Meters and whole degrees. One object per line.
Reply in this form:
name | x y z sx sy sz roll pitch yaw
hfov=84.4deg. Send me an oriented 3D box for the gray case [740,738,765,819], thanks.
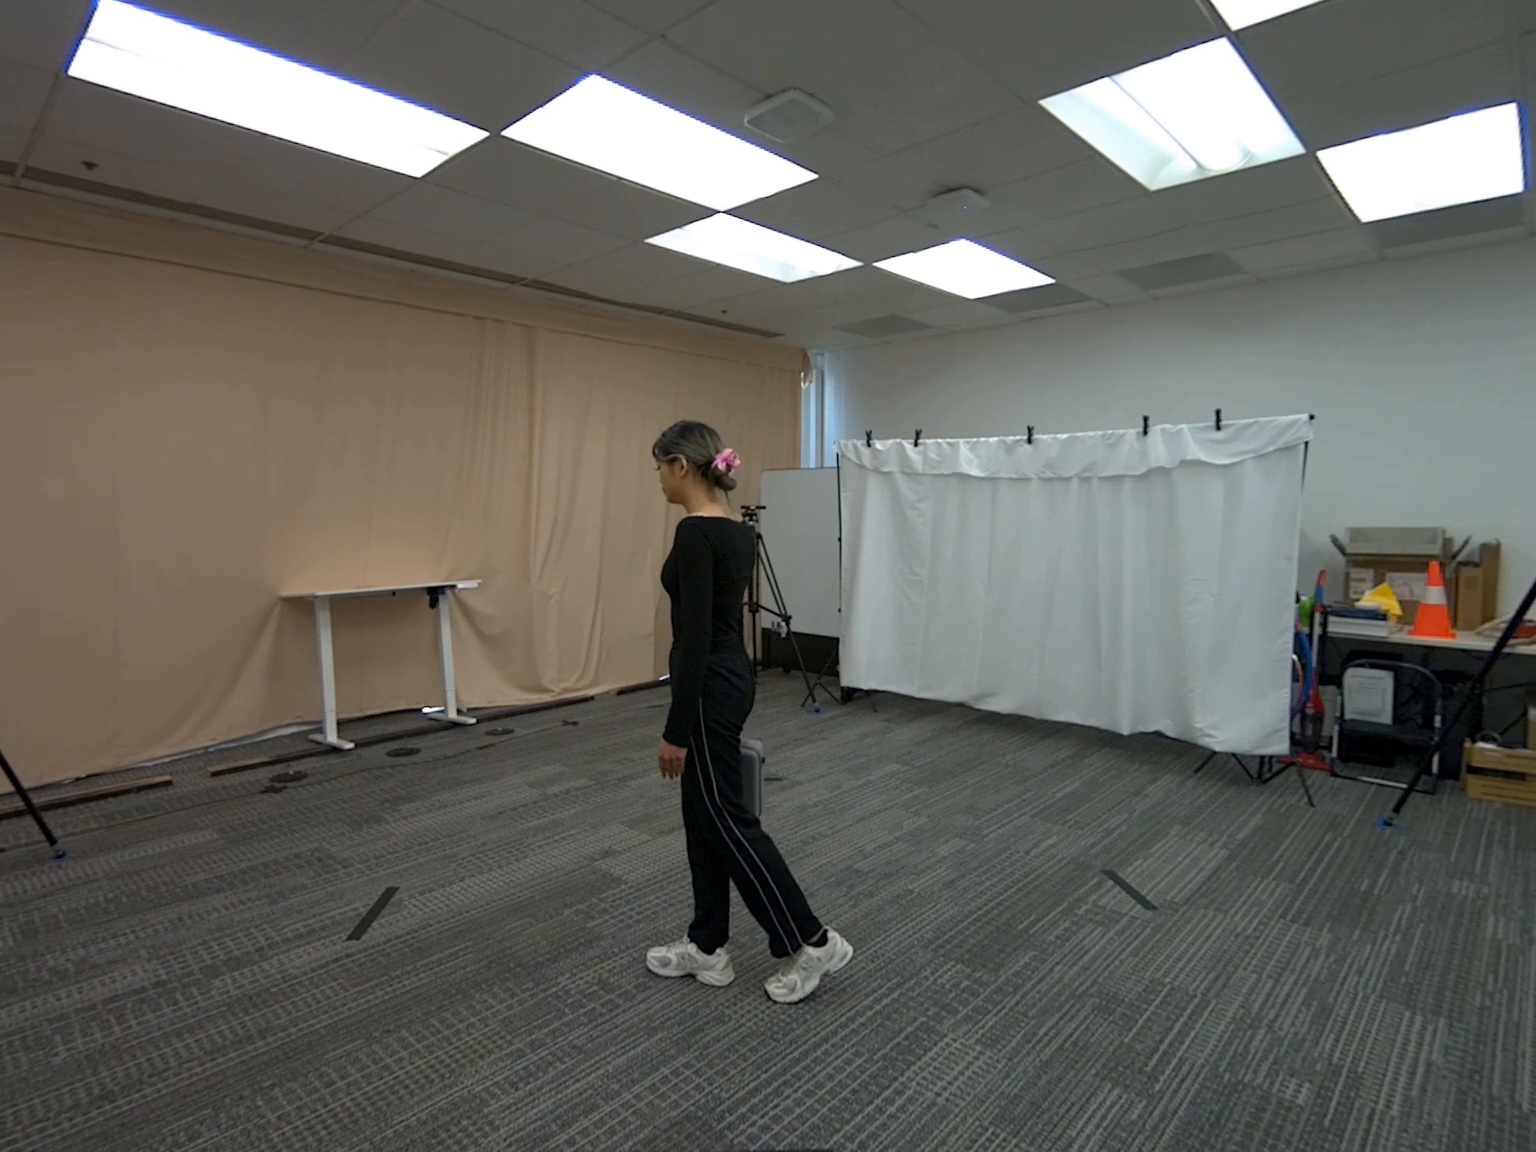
gray case | -0.138 0.639 2.695 0.261 0.259 0.103 3 10 14
